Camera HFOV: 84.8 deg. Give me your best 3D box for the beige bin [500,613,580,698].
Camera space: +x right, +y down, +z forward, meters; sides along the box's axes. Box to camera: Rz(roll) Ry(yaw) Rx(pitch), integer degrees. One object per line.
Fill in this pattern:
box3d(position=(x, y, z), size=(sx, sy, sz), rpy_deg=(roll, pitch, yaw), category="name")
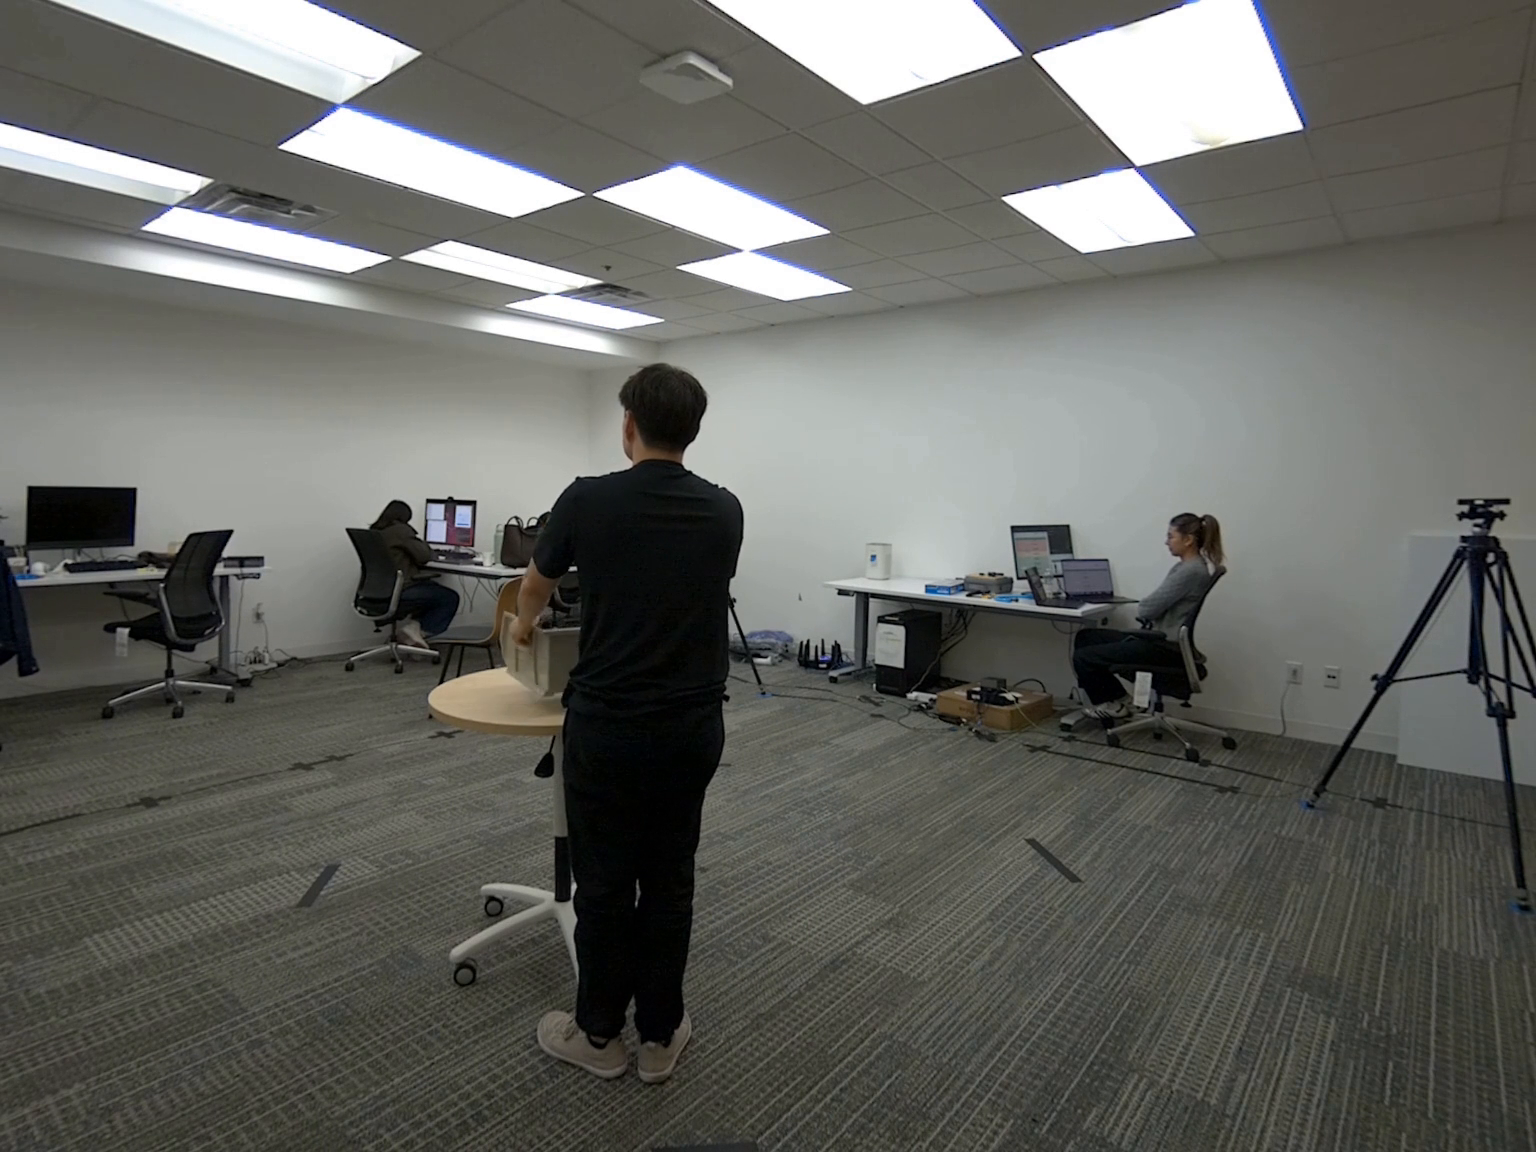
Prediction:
box3d(position=(-0.531, 0.185, 2.489), size=(0.410, 0.188, 0.390), rpy_deg=(-2, 9, -33), category="beige bin")
